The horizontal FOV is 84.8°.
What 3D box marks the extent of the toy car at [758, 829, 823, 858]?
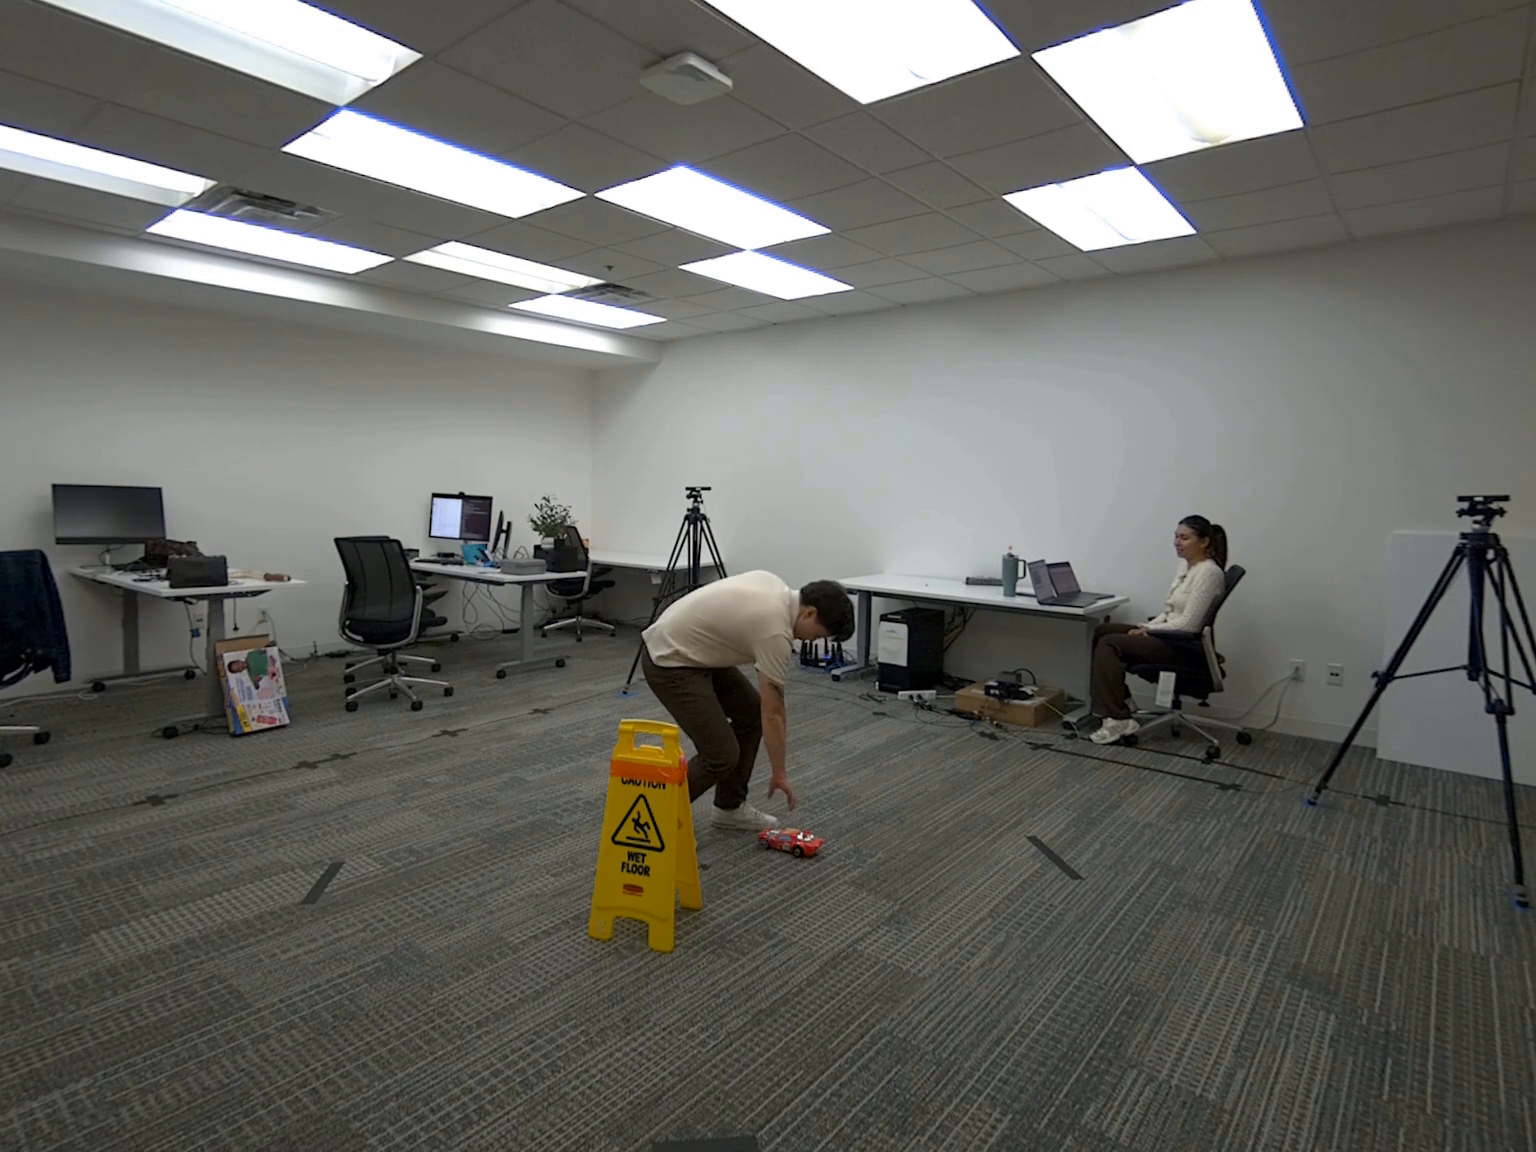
[{"bbox_3d":[0.086,1.024,3.276,0.260,0.083,0.127,-9,-1,29],"label":"toy car"}]
